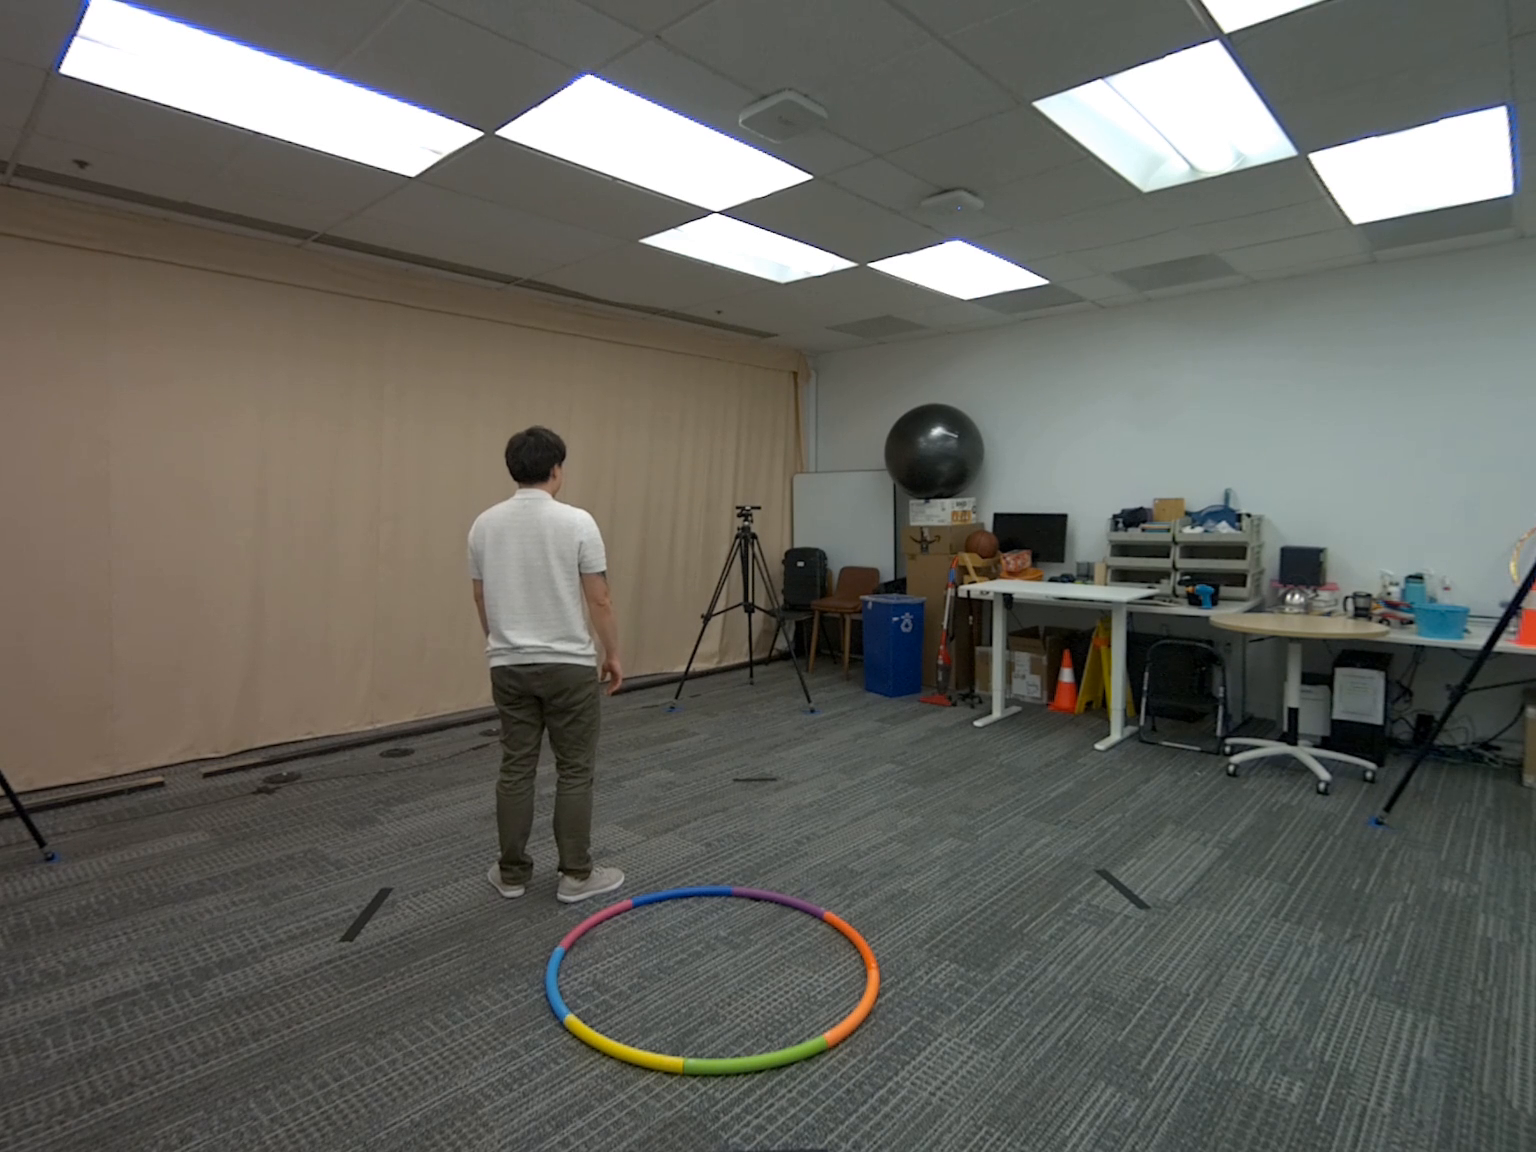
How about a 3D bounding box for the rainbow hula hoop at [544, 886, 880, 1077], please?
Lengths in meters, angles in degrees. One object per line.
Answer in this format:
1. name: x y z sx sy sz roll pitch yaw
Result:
1. rainbow hula hoop: -0.161 1.152 2.539 0.978 0.035 0.982 0 4 -2
